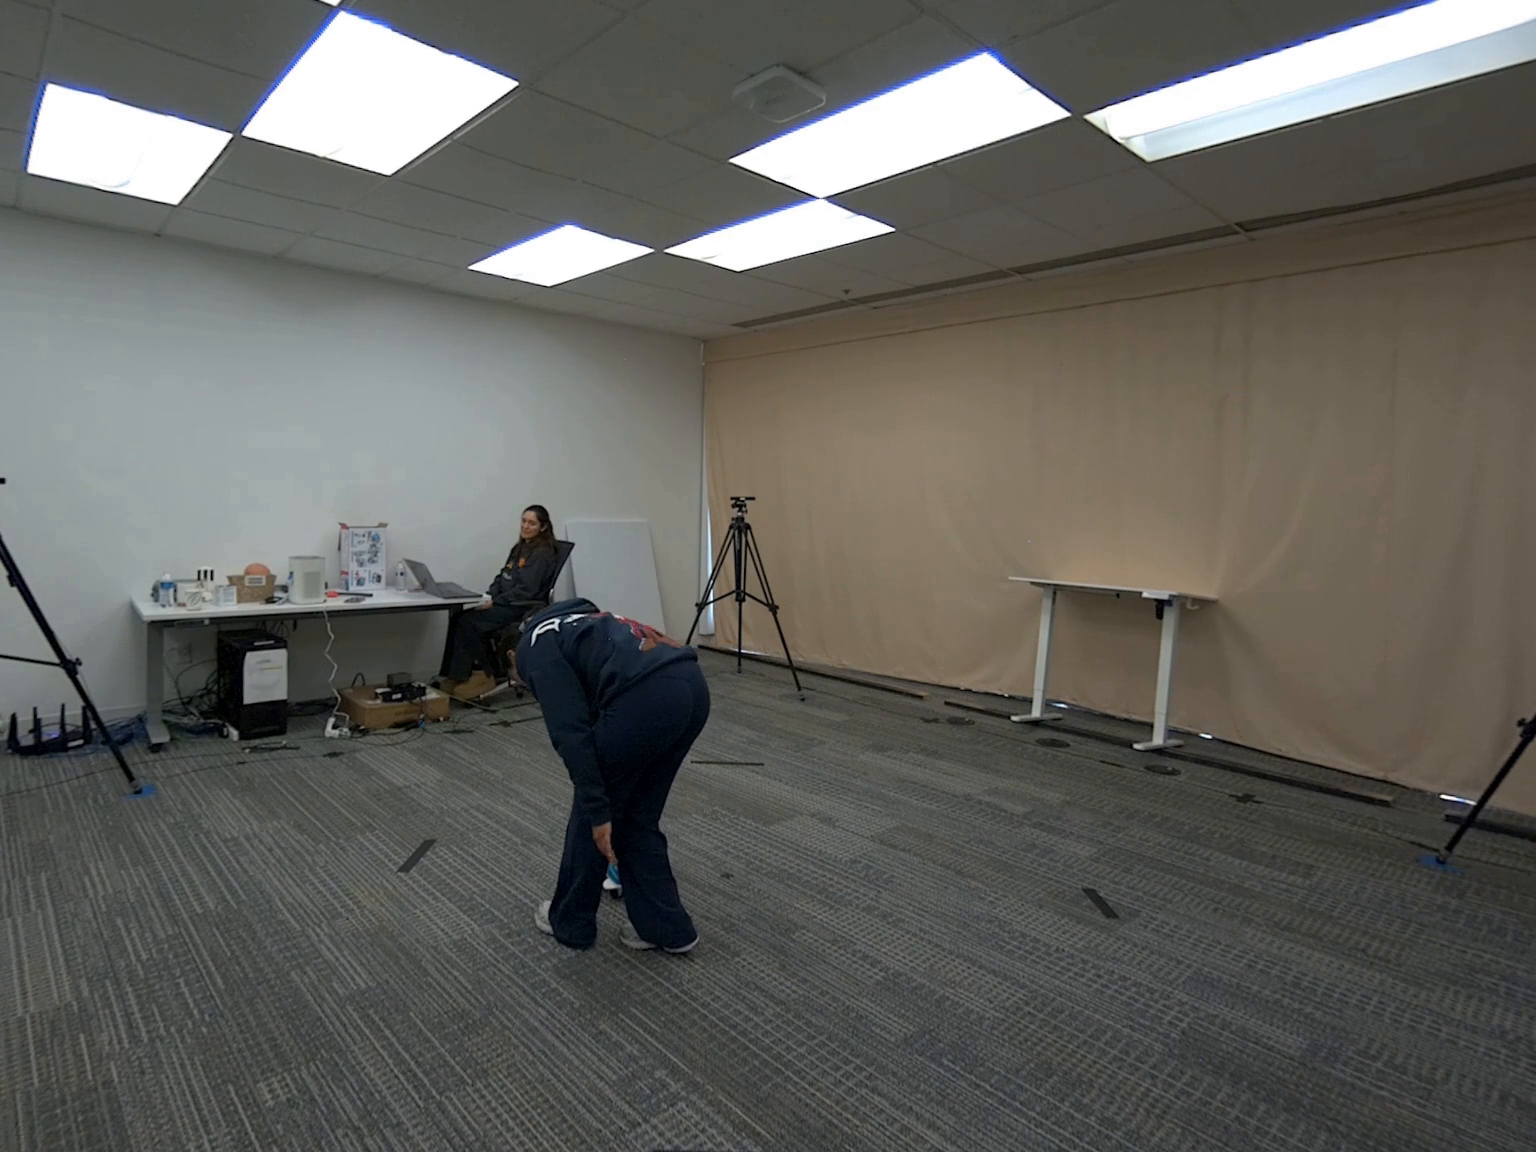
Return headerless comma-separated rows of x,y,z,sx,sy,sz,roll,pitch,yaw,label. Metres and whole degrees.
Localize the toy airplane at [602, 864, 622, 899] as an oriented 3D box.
-0.550,1.037,3.003,0.265,0.156,0.246,2,5,34,toy airplane
